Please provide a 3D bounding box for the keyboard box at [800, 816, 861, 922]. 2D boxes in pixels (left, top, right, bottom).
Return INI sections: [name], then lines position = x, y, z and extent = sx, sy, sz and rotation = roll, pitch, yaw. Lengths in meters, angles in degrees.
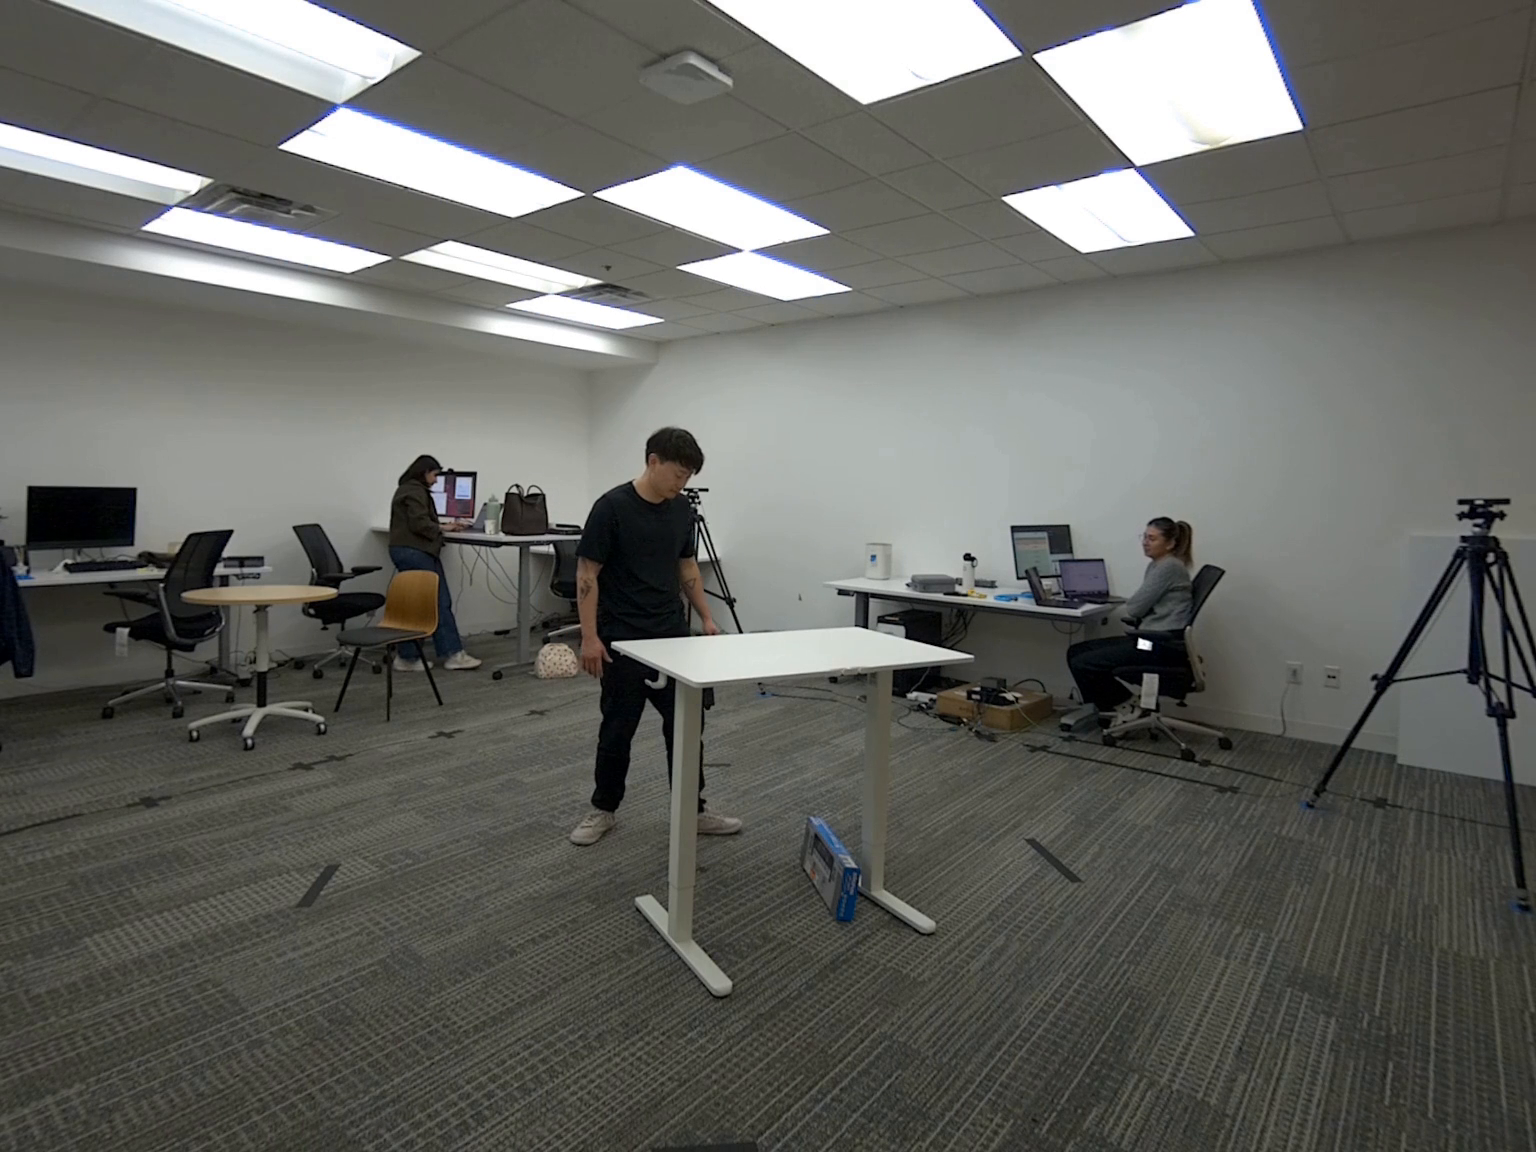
[keyboard box]
position = 0.204, 1.005, 2.962
extent = 0.058, 0.175, 0.444
rotation = 8, 3, -14
